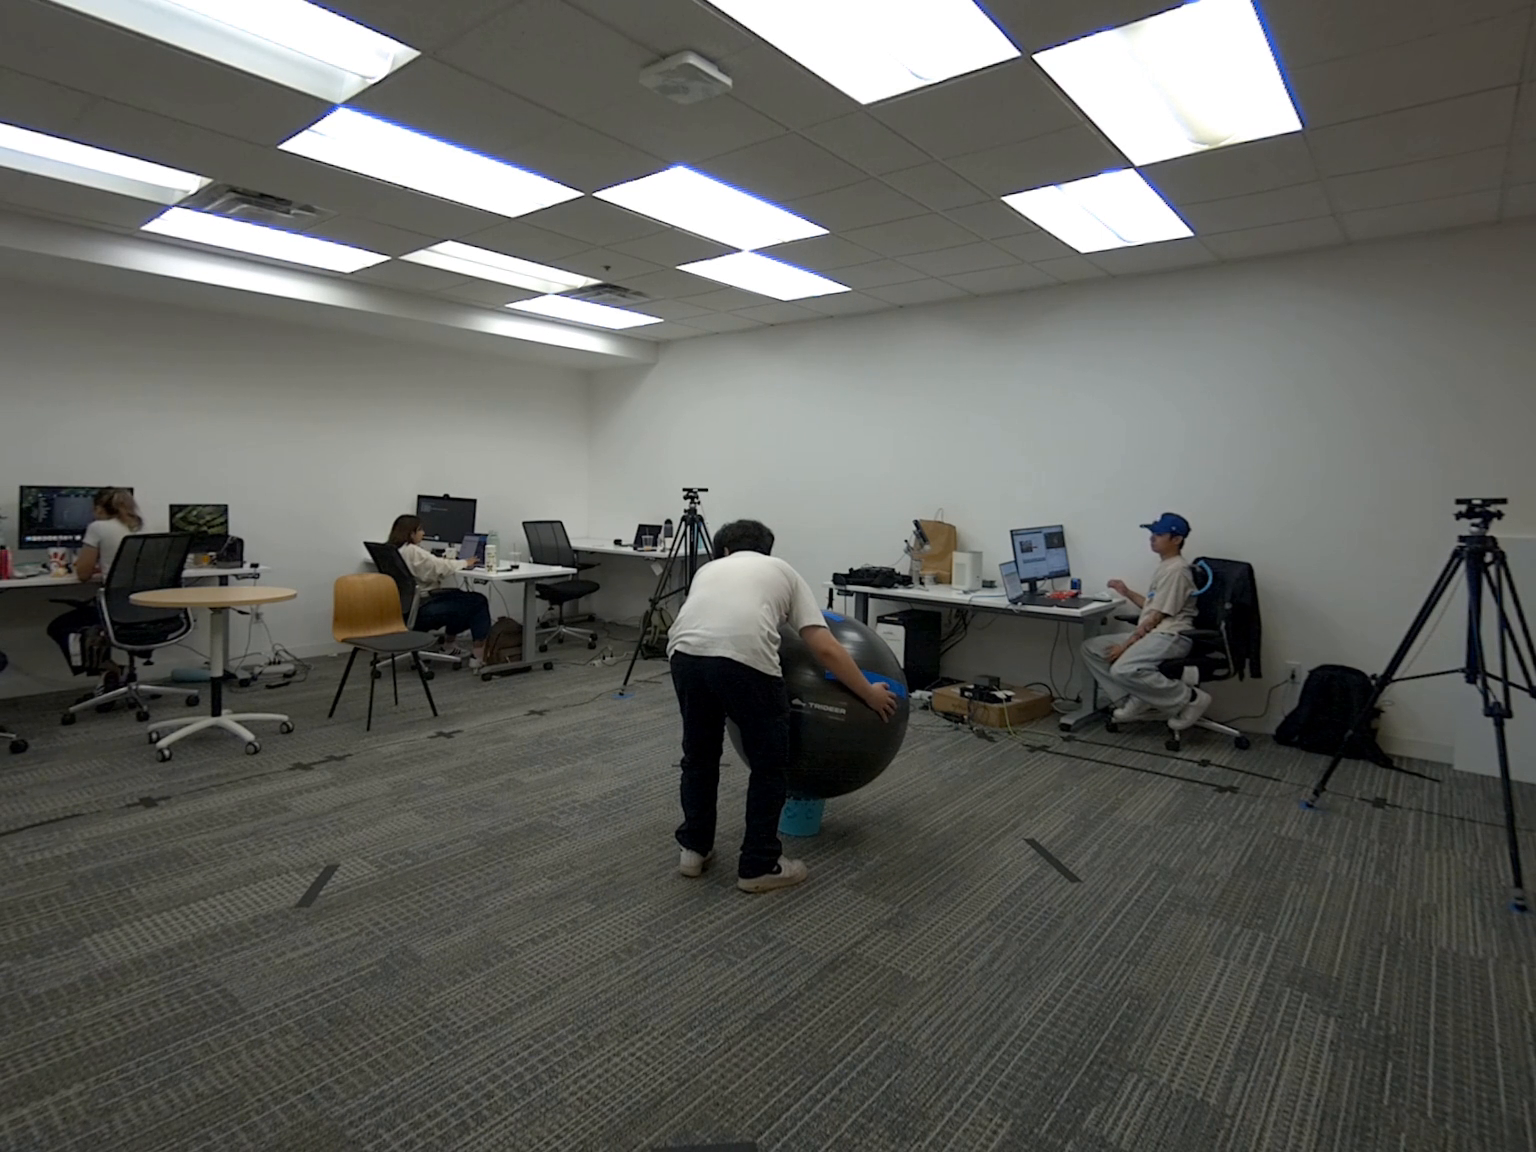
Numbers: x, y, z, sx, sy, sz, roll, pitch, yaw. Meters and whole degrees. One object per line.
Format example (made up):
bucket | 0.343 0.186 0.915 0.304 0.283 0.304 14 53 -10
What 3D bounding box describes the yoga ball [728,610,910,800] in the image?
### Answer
yoga ball | 0.205 0.524 3.505 0.757 0.755 0.762 1 4 -2
